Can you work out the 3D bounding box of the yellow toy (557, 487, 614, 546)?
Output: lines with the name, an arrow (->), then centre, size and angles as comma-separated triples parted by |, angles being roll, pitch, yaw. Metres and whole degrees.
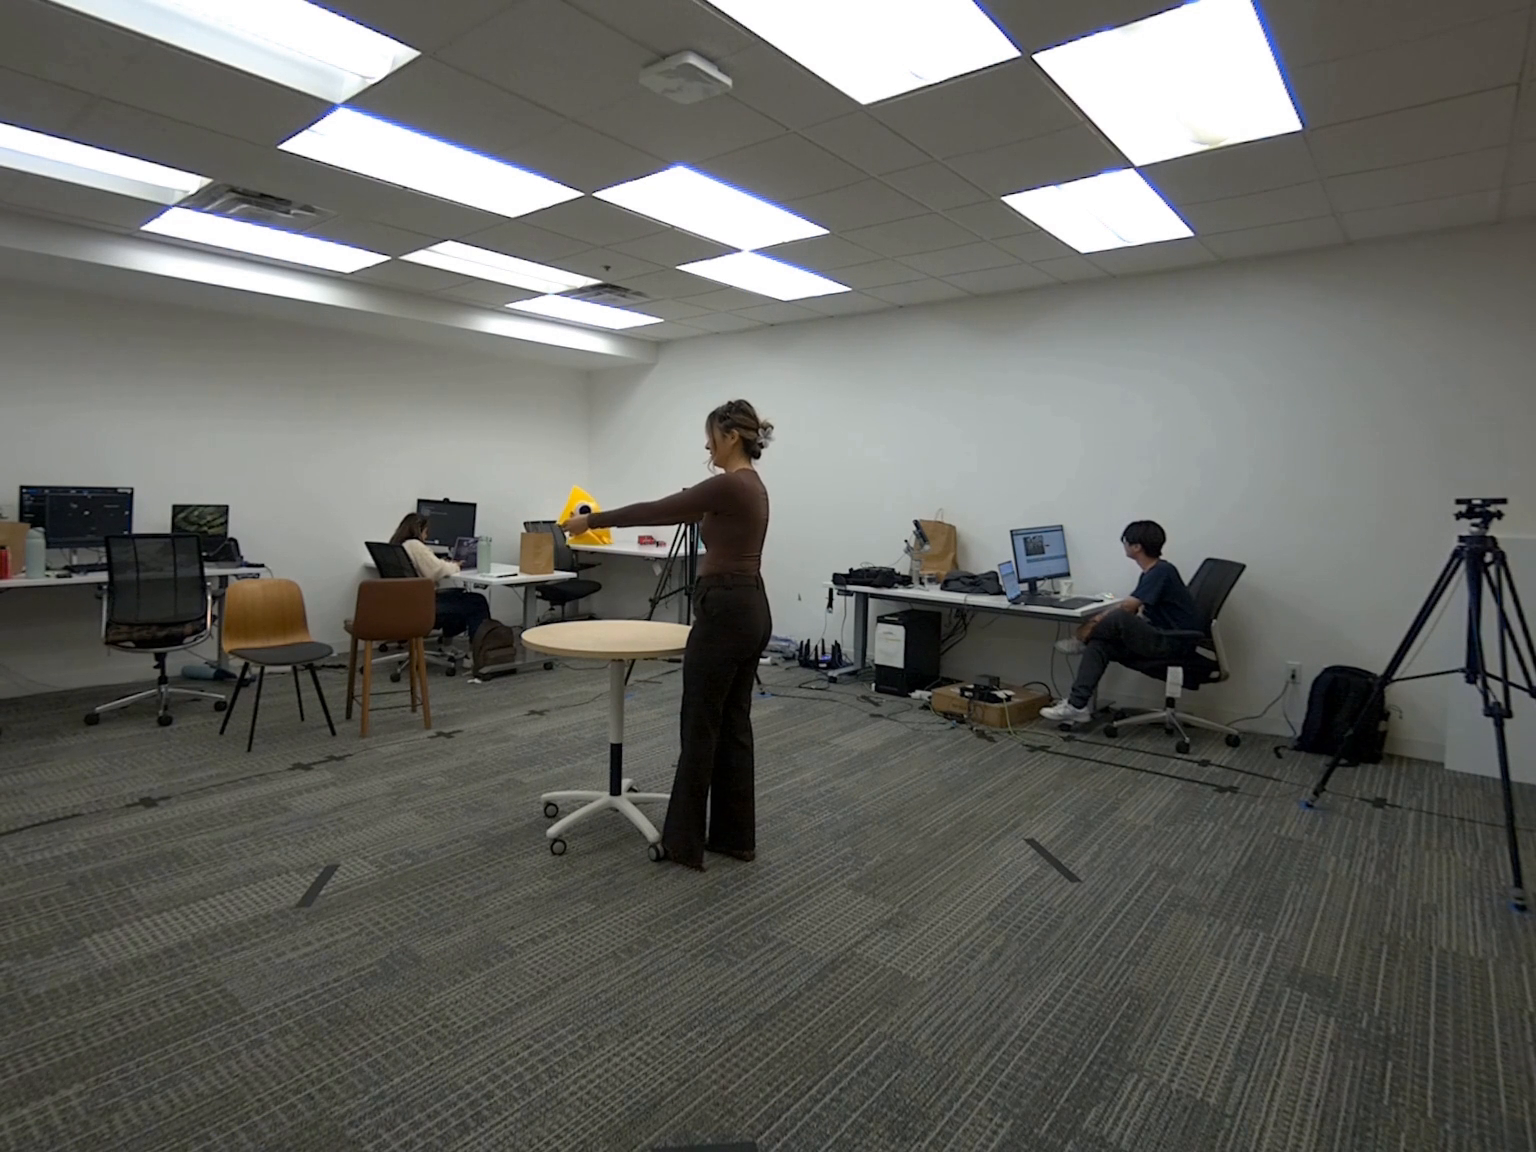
yellow toy -> -0.724, -0.239, 3.305 | 0.195, 0.230, 0.203 | 1, 1, 9
